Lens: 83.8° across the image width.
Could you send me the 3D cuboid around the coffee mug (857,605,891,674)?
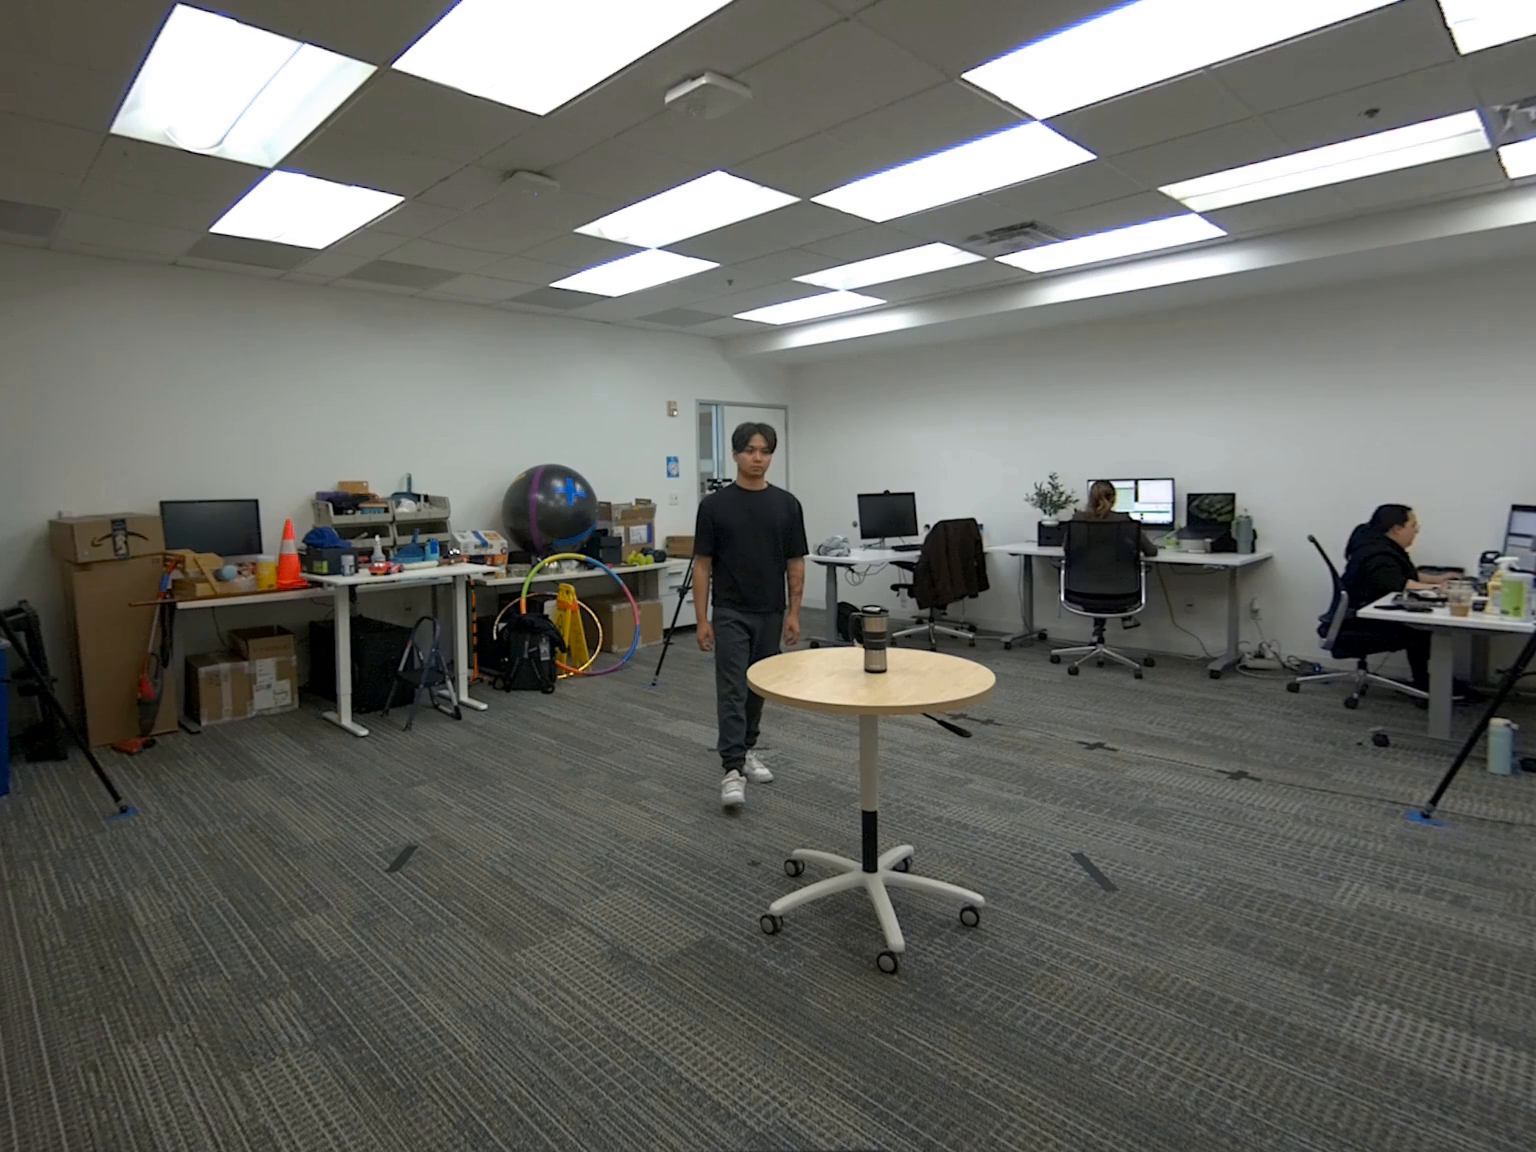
[{"bbox_3d":[0.322,0.202,2.709,0.126,0.201,0.086,6,12,38],"label":"coffee mug"}]
